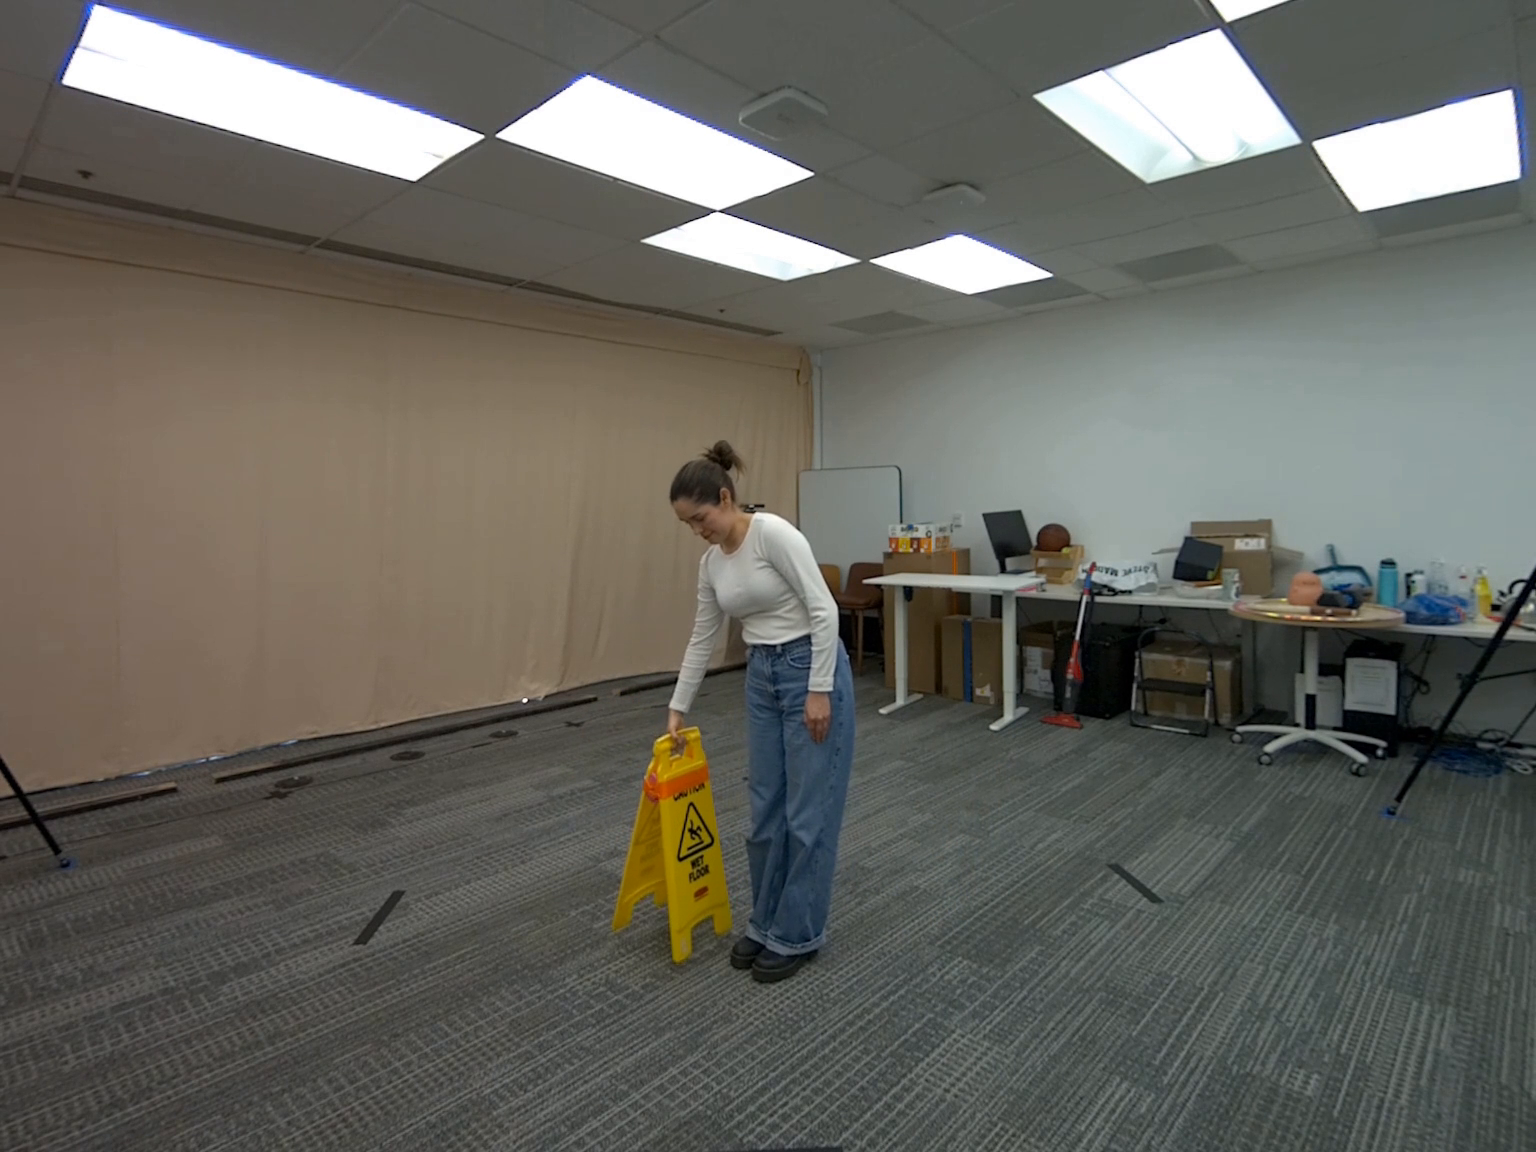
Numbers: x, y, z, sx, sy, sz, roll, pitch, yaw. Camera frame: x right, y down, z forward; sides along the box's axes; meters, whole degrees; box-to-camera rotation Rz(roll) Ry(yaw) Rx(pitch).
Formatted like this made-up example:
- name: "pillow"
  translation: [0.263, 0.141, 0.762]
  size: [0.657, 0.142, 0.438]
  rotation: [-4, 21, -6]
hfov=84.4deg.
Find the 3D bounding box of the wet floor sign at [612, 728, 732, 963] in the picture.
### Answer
- name: "wet floor sign"
  translation: [-0.297, 0.821, 2.677]
  size: [0.299, 0.644, 0.274]
  rotation: [5, 5, 37]
